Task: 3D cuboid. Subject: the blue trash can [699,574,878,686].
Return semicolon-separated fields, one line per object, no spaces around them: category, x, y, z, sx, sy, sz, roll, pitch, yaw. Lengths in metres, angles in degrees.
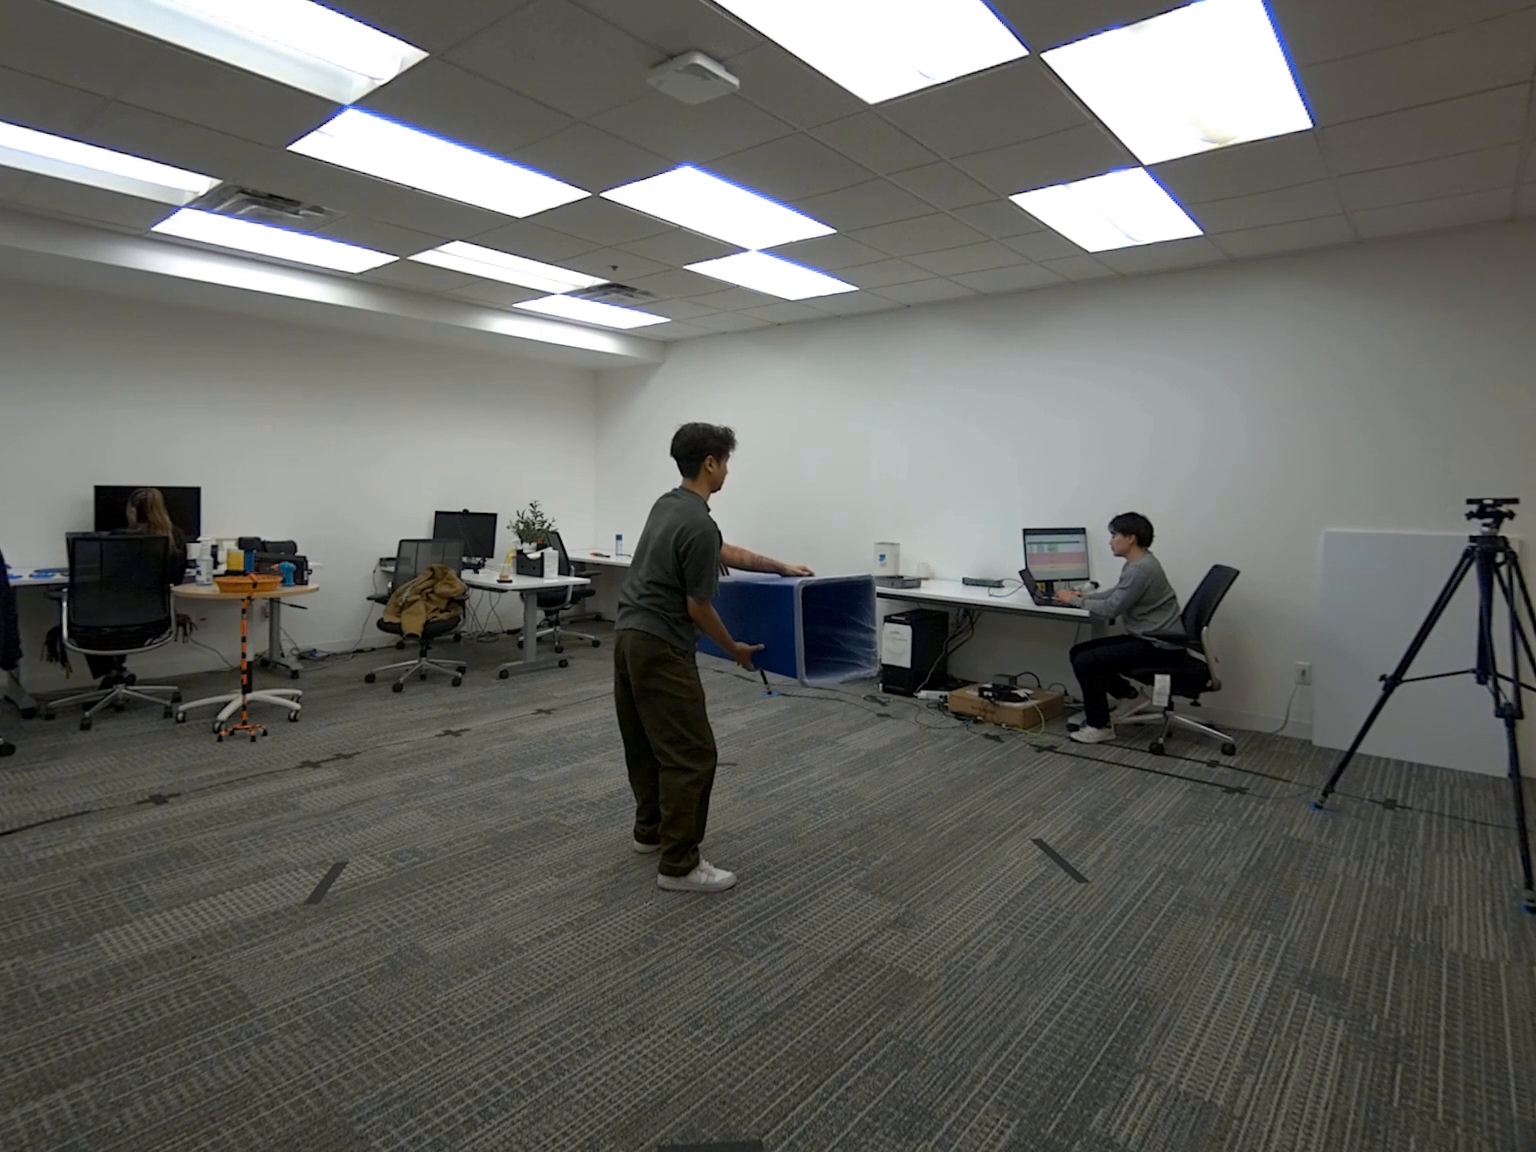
blue trash can;0.024;0.180;3.289;0.367;0.373;0.735;-4;4;-35
